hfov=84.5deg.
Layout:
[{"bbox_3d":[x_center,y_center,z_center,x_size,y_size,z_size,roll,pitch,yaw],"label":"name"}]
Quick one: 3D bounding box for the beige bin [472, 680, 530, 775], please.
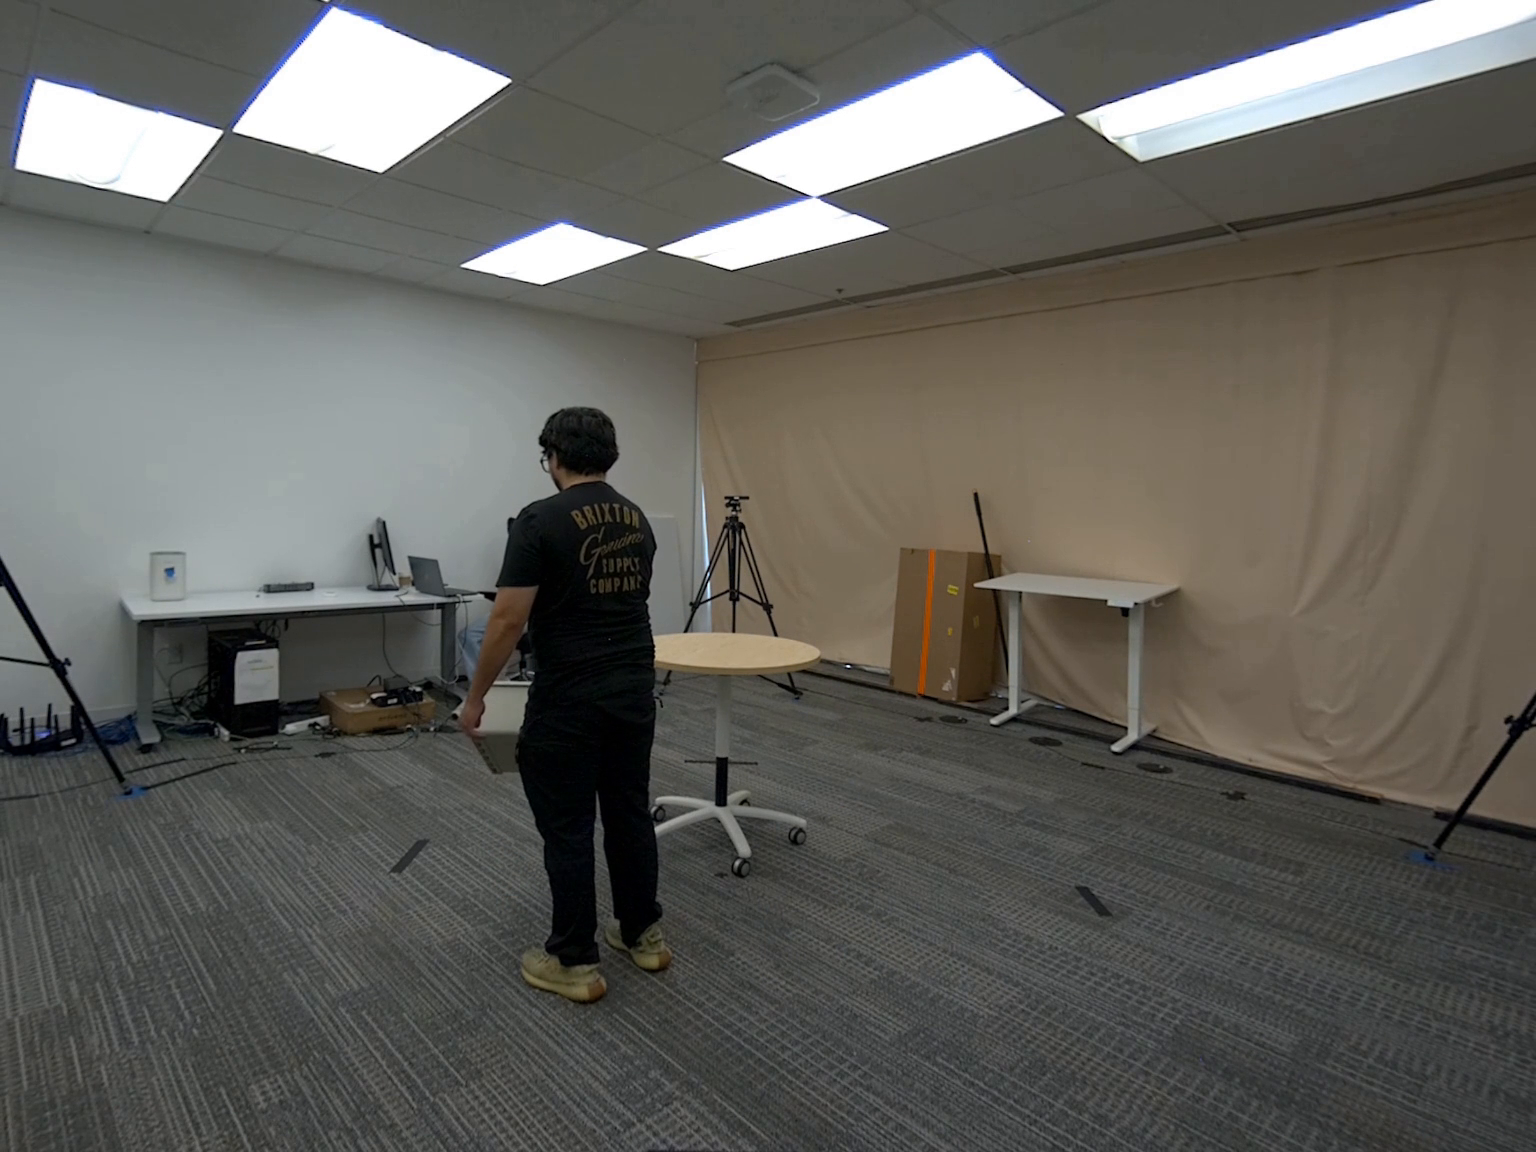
[{"bbox_3d":[-0.725,0.523,2.768,0.423,0.192,0.369,3,-36,2],"label":"beige bin"}]
